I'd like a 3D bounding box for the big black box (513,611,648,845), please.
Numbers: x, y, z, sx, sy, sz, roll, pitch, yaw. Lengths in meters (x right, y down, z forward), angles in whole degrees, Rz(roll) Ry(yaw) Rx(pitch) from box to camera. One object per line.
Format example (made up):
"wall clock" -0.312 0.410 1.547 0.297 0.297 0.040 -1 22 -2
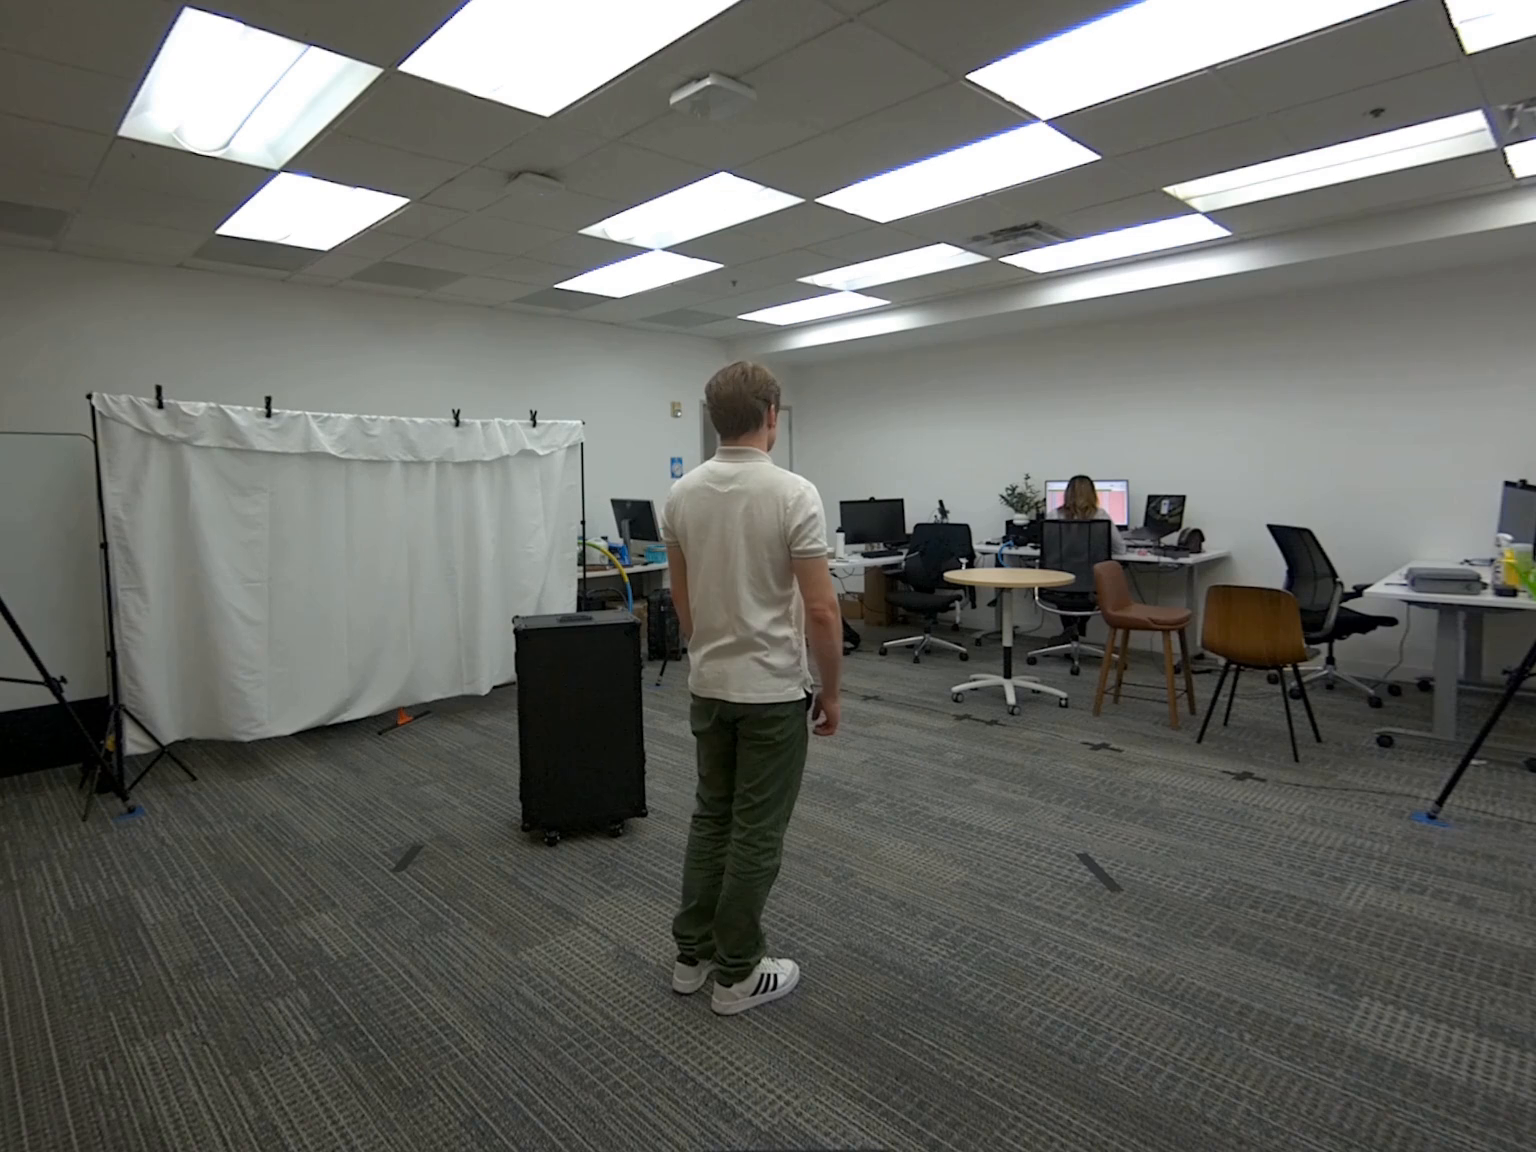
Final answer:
"big black box" -0.777 0.601 3.481 0.516 0.866 0.391 -2 3 -15
